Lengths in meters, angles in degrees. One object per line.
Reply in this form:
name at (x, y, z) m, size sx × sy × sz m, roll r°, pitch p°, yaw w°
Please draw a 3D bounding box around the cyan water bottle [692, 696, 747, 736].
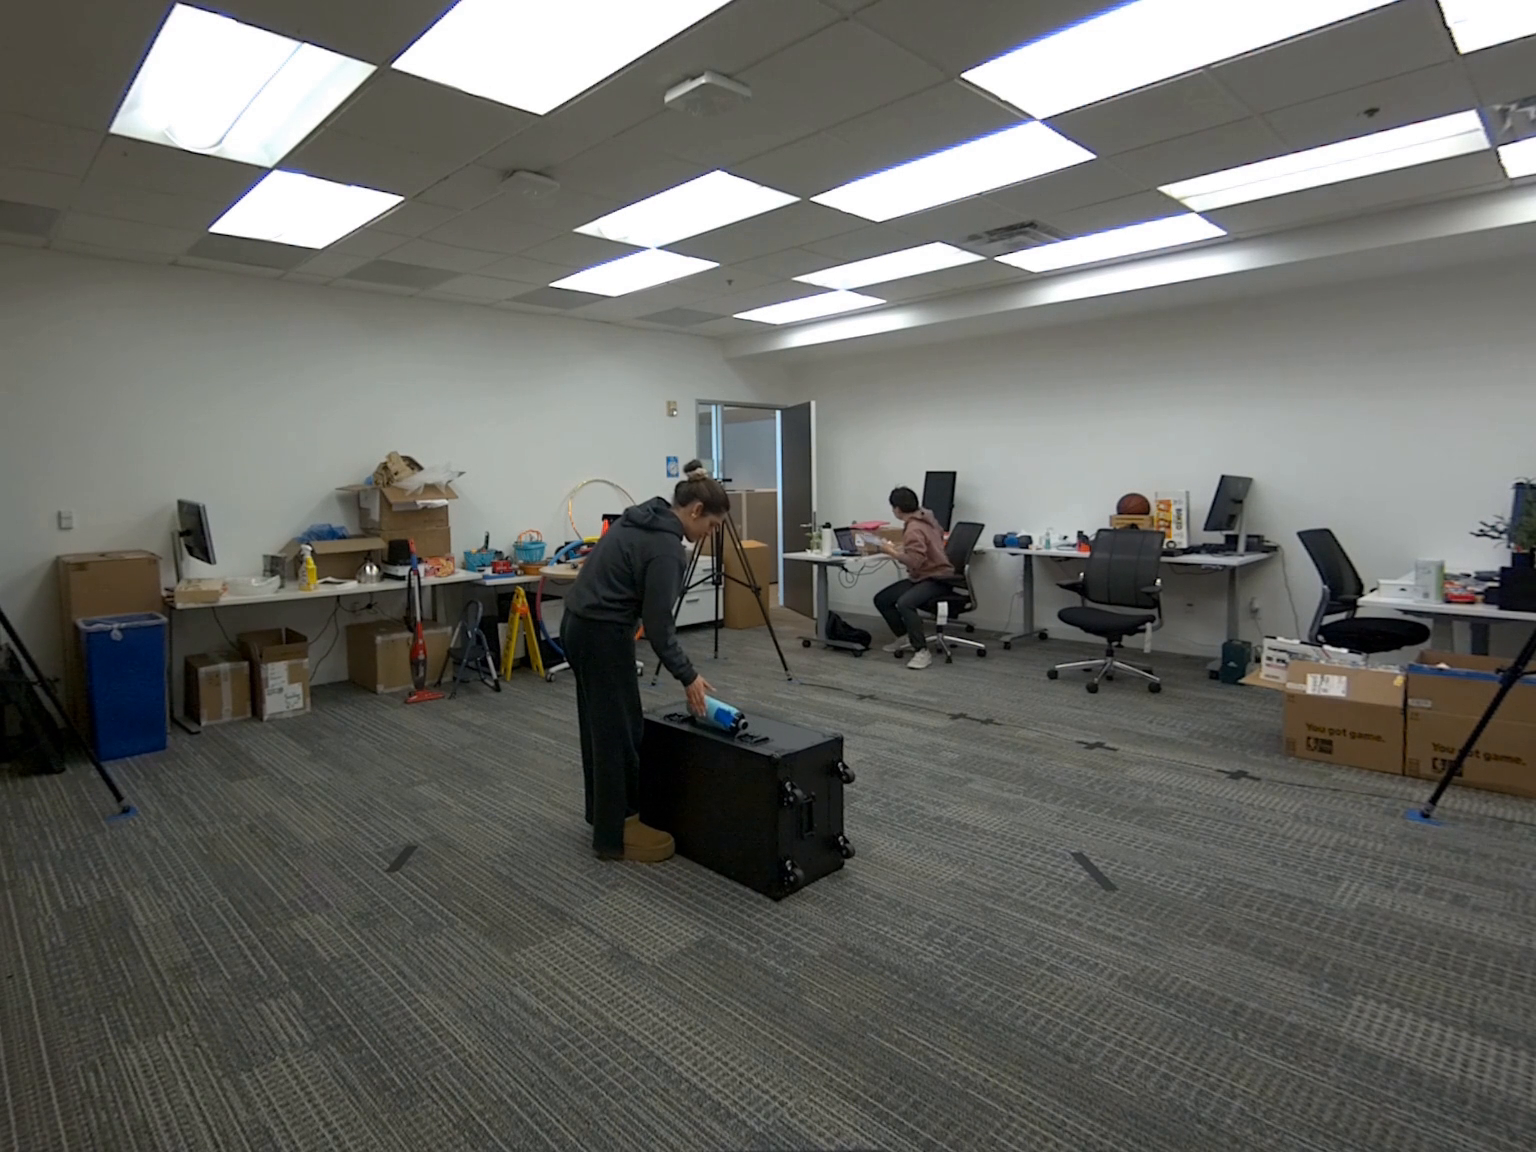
cyan water bottle at (-0.185, 0.509, 3.149) m, size 0.090 × 0.092 × 0.293 m, roll -4°, pitch 11°, yaw -39°
